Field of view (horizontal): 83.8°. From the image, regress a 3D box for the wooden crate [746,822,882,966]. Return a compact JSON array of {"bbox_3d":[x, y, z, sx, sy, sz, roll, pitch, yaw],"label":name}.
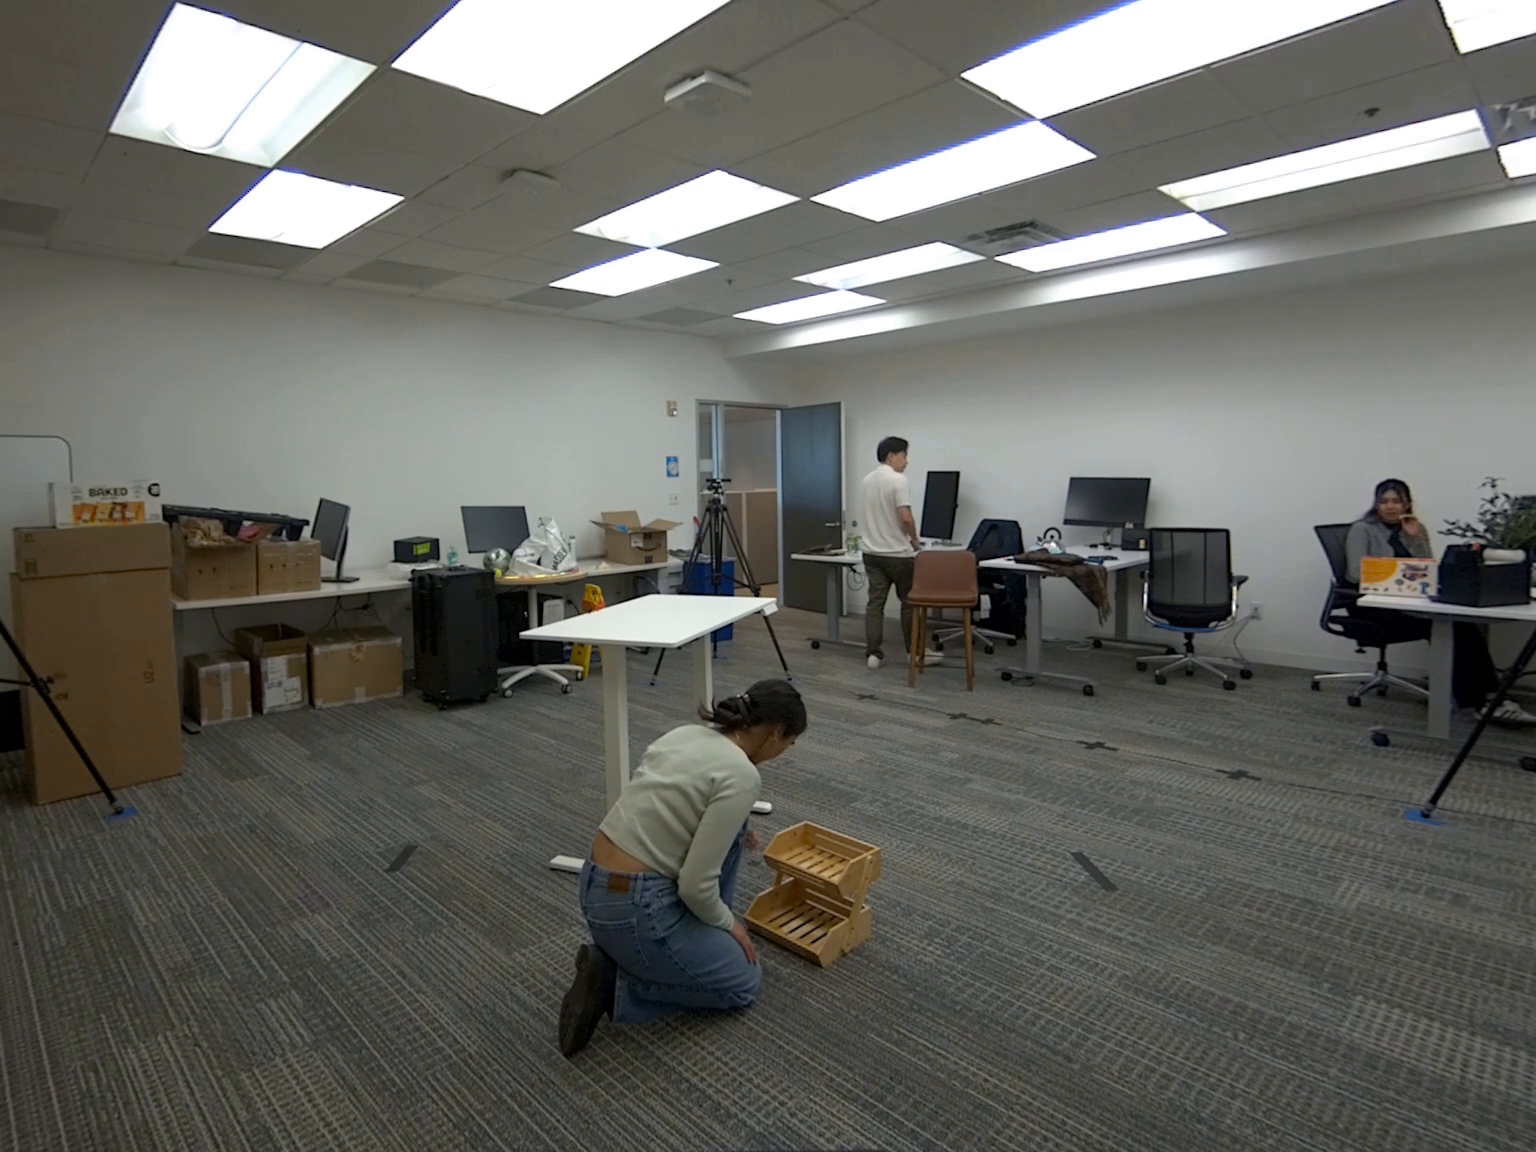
[{"bbox_3d":[0.141,0.962,2.627,0.334,0.272,0.294,4,6,45],"label":"wooden crate"}]
